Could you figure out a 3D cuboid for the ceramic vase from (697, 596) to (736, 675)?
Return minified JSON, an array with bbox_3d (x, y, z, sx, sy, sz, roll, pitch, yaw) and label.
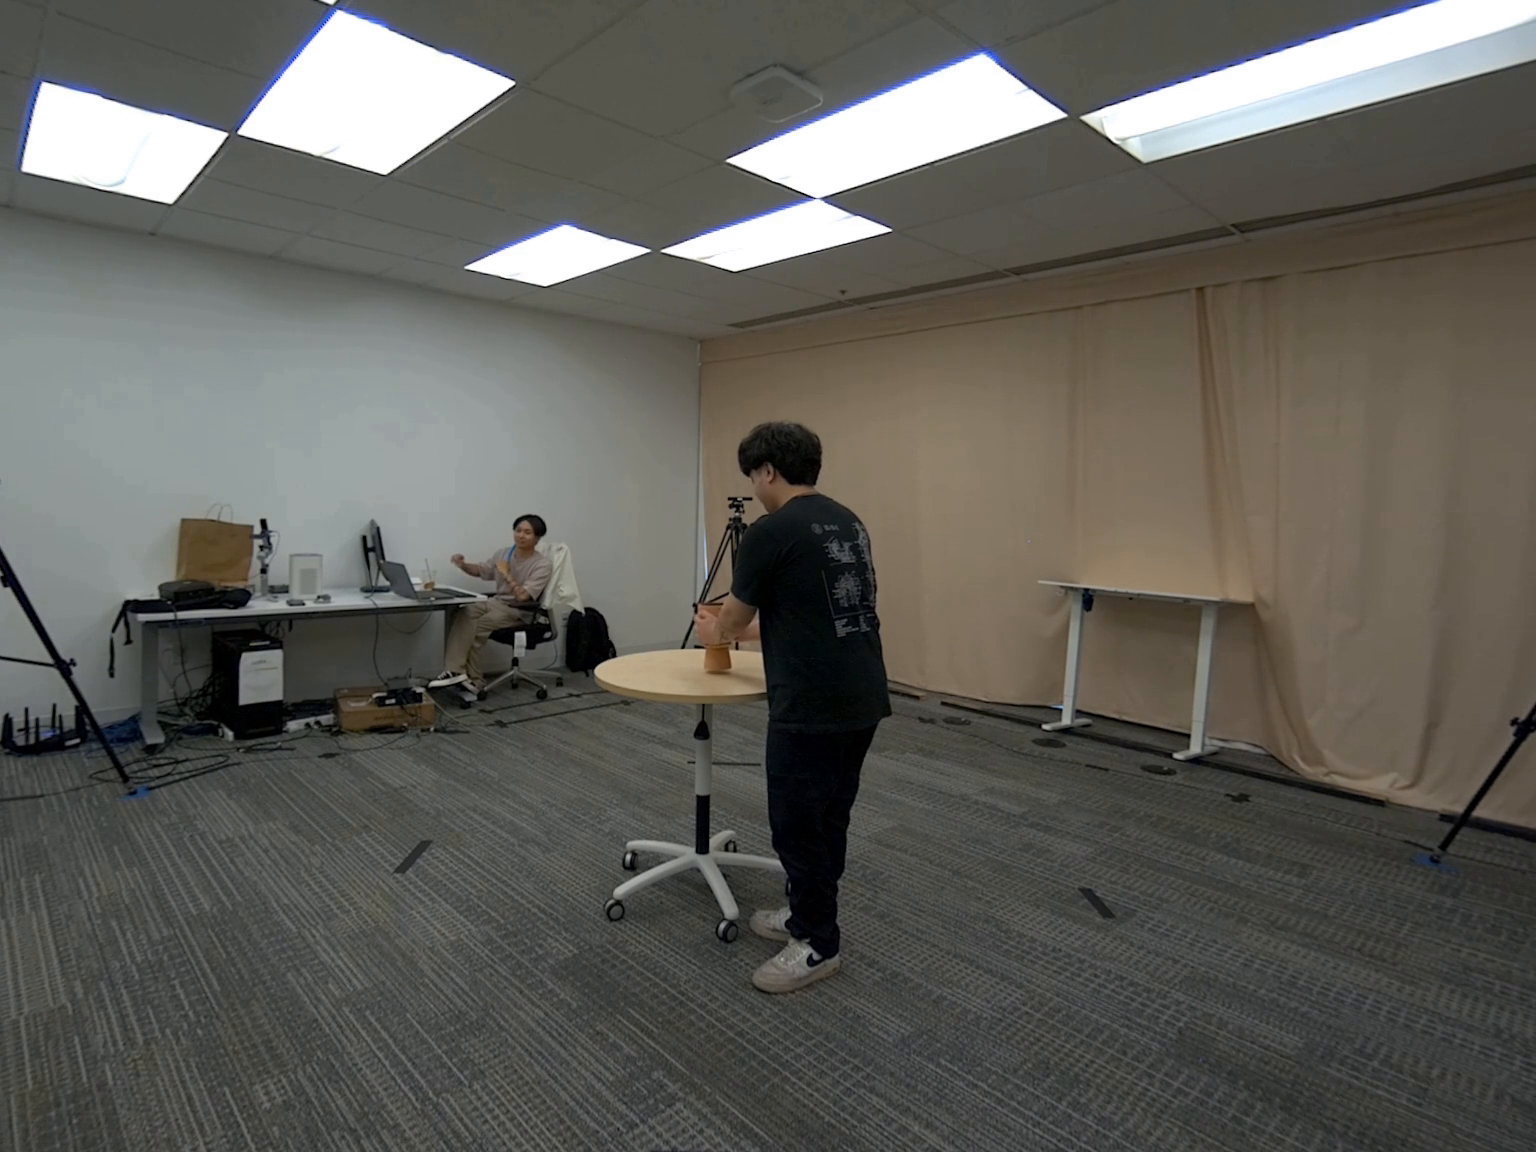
[{"bbox_3d":[-0.174,0.209,2.889,0.134,0.219,0.159,0,3,-3],"label":"ceramic vase"}]
